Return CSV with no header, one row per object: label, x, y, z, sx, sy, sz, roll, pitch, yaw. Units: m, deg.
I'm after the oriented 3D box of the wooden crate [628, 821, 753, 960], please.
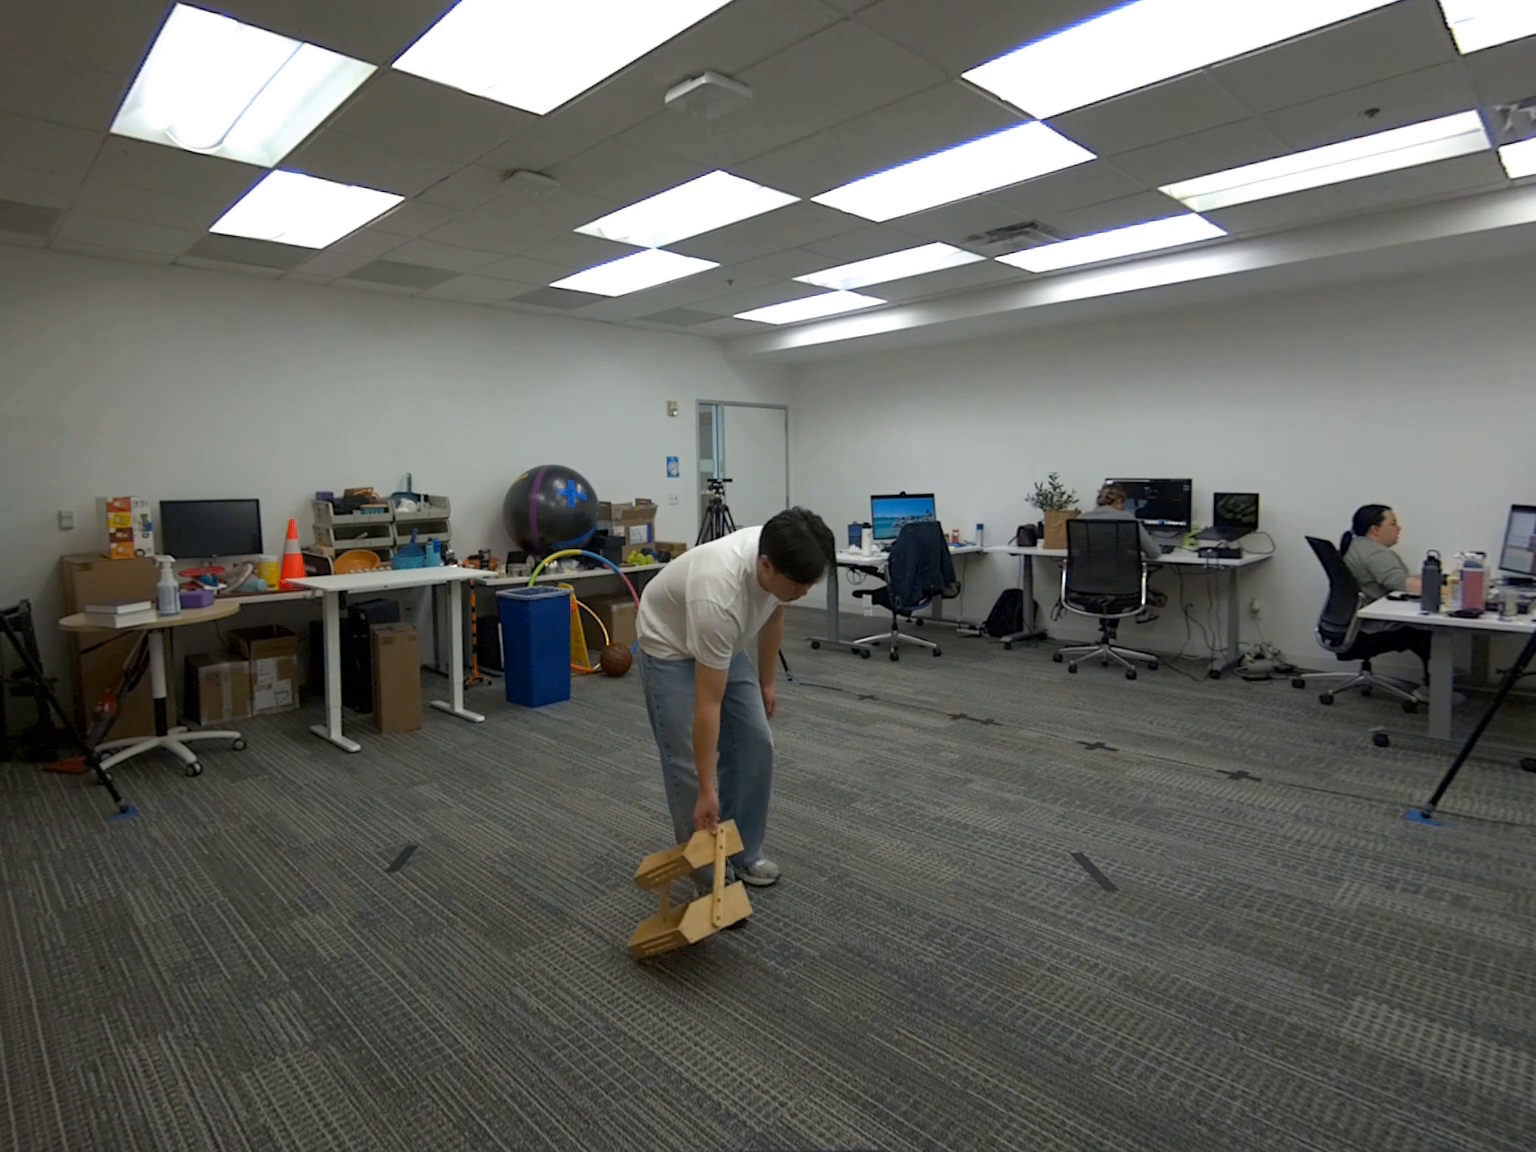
wooden crate,-0.252,0.928,2.524,0.294,0.279,0.326,-5,-25,-42
